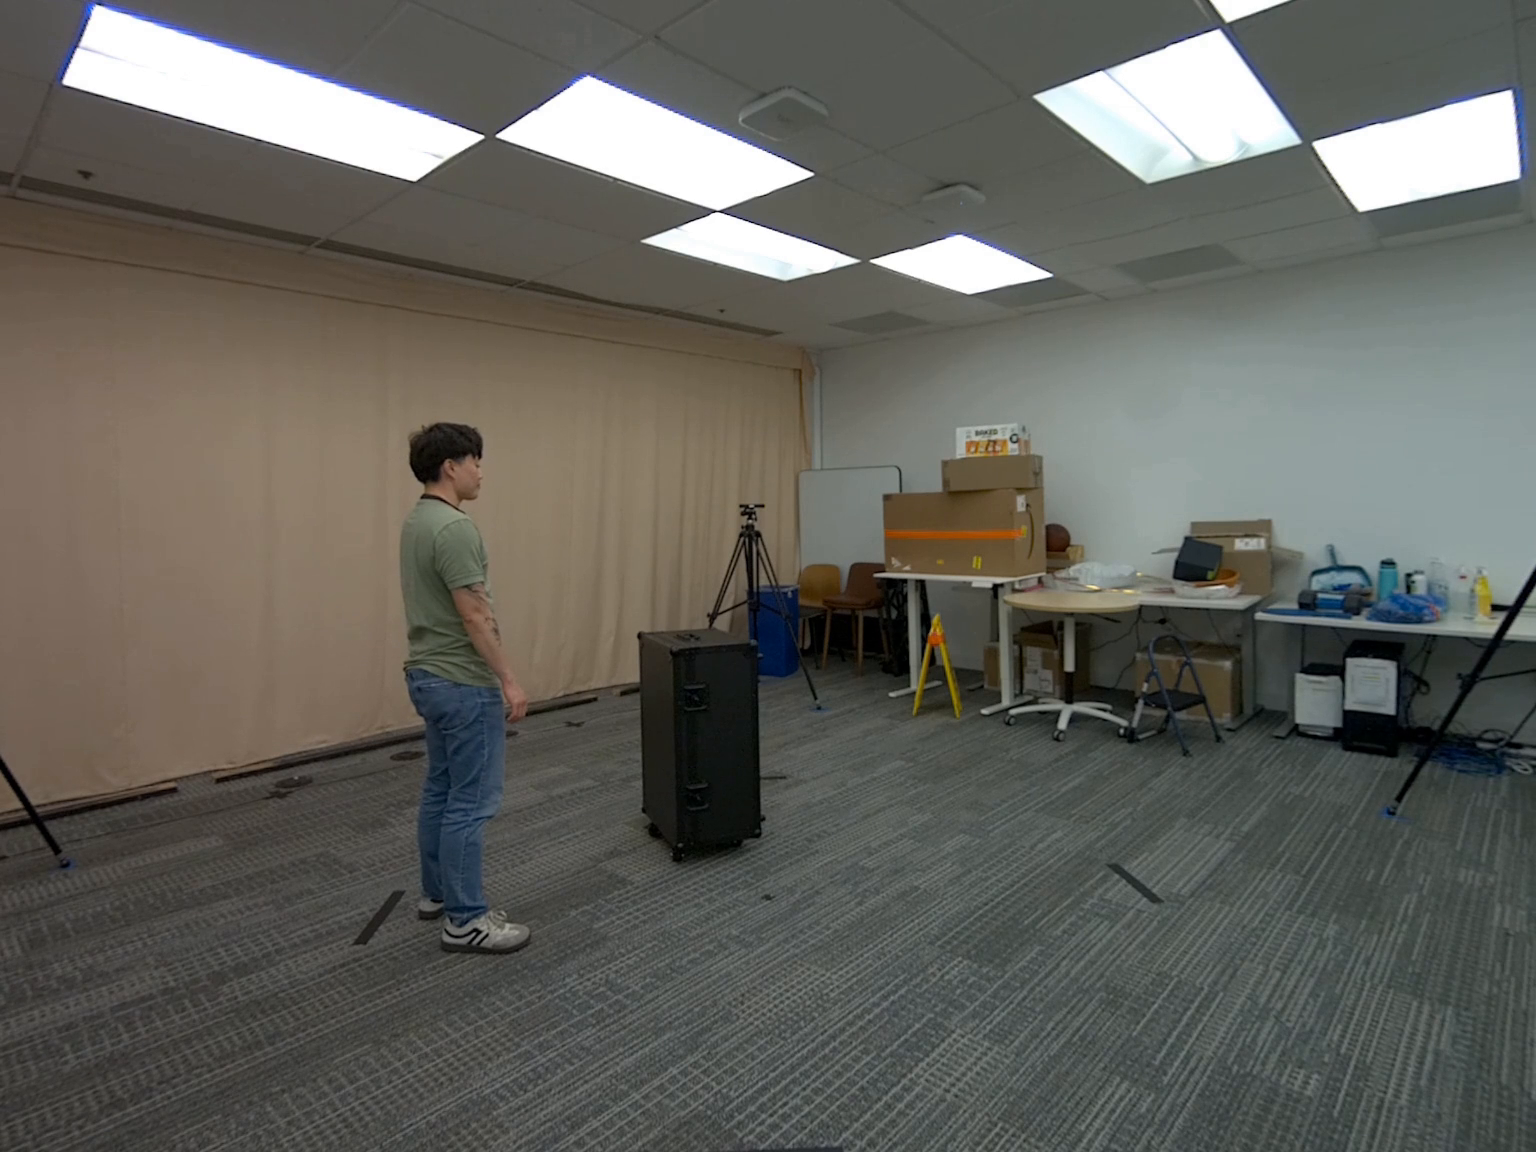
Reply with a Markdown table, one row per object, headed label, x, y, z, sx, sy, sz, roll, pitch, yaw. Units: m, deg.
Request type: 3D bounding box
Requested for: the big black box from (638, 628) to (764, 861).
| label | x | y | z | sx | sy | sz | roll | pitch | yaw |
| --- | --- | --- | --- | --- | --- | --- | --- | --- | --- |
| big black box | -0.285 | 0.675 | 3.499 | 0.387 | 0.860 | 0.534 | -1 | 2 | -24 |
